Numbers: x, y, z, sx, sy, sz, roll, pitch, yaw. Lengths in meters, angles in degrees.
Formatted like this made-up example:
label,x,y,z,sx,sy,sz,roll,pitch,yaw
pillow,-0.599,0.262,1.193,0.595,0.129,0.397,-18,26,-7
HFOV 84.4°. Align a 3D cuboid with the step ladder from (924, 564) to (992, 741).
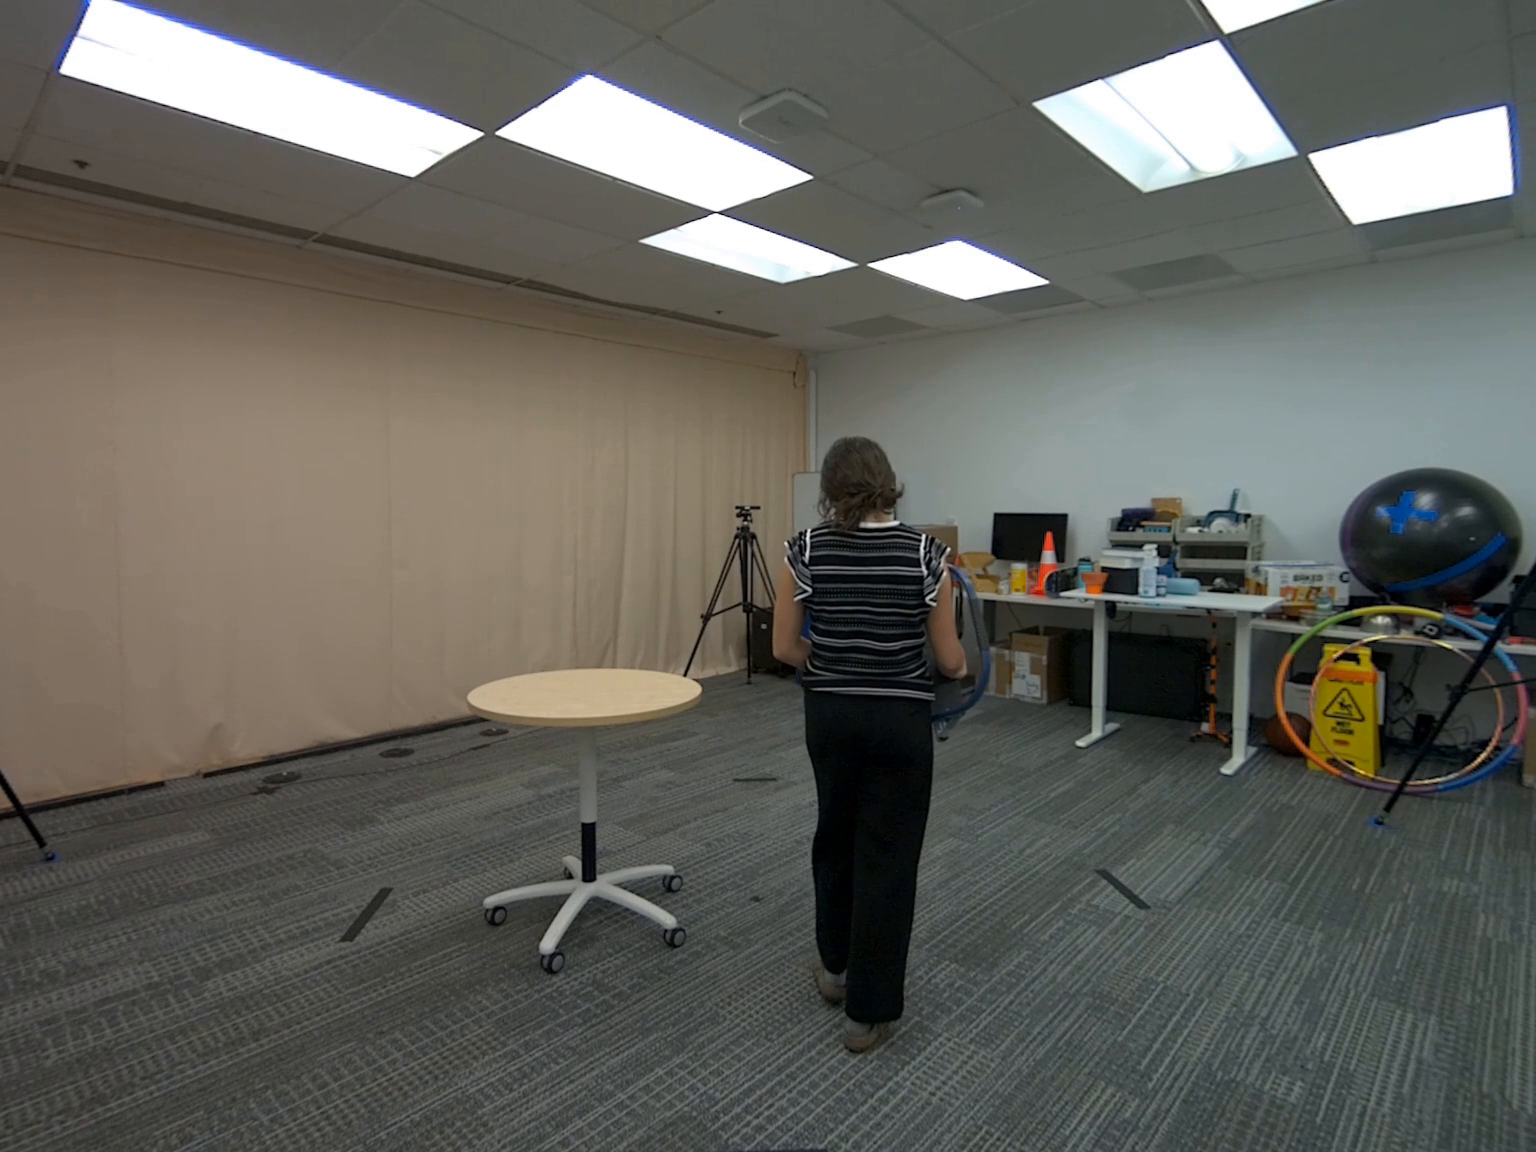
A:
label,x,y,z,sx,sy,sz,roll,pitch,yaw
step ladder,0.420,0.228,2.383,0.344,0.437,0.605,-4,-20,-14
